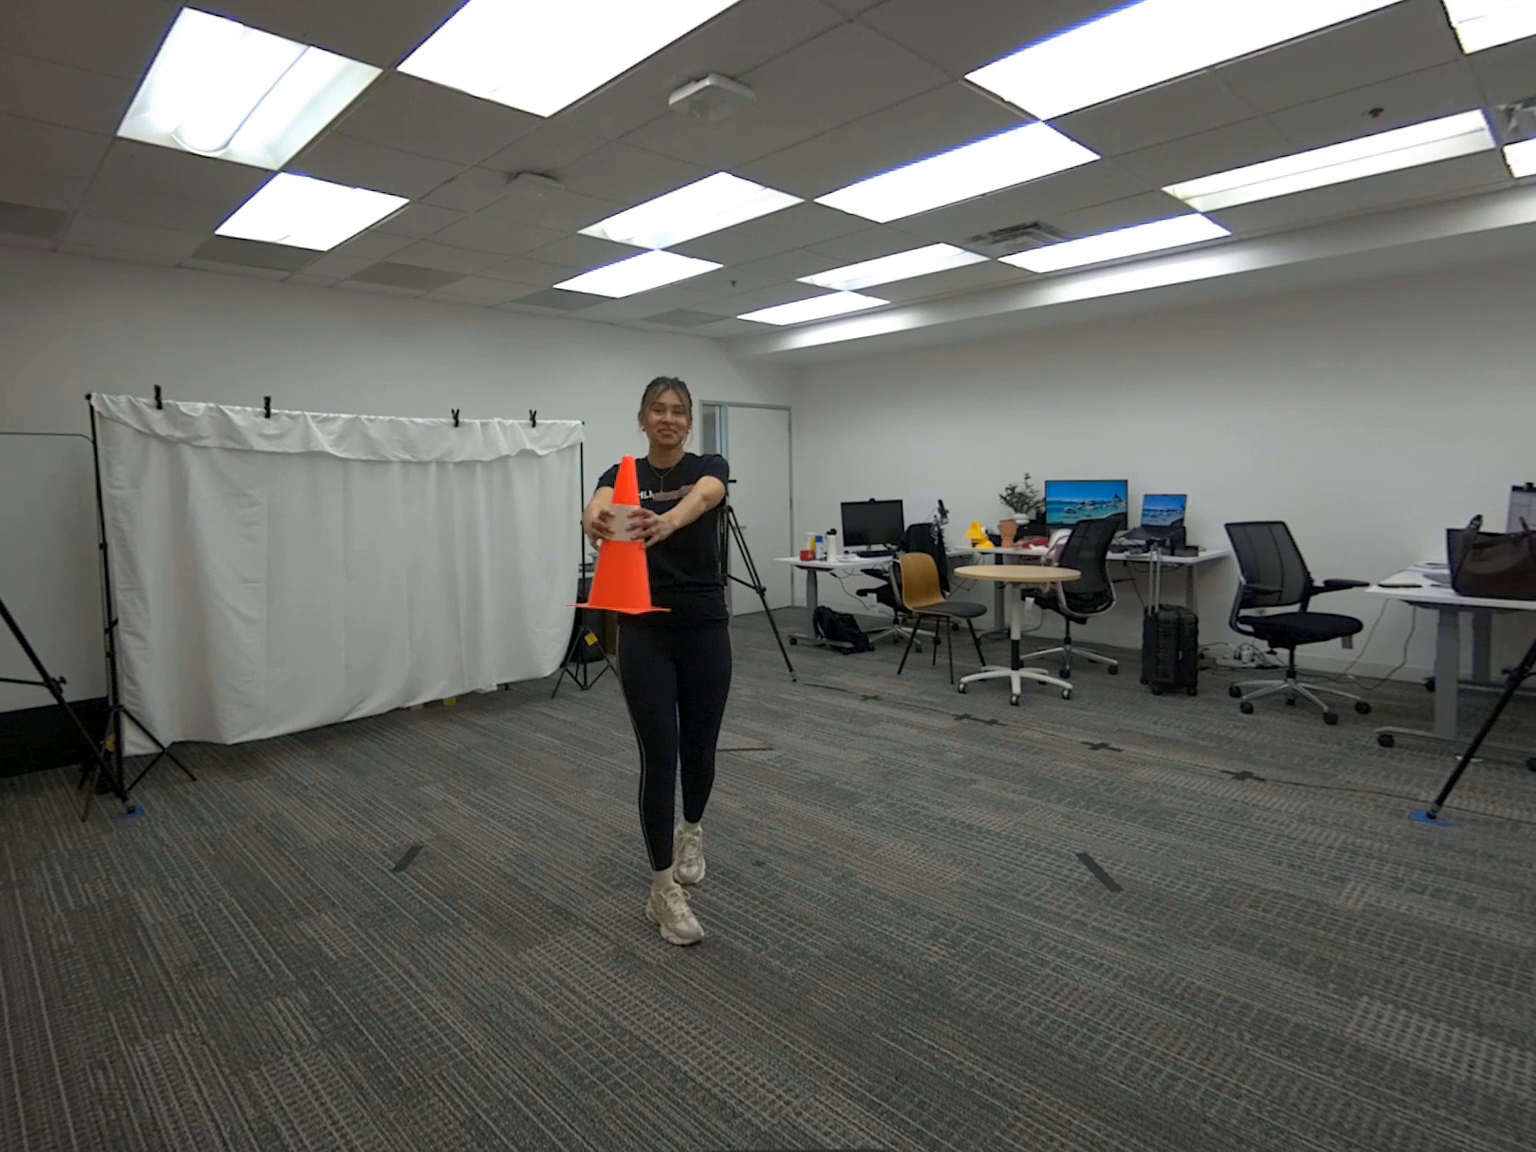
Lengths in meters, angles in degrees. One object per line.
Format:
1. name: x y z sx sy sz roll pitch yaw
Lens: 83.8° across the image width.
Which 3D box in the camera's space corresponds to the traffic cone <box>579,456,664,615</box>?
1. traffic cone: -0.354 -0.108 2.146 0.200 0.384 0.208 4 -1 -24
